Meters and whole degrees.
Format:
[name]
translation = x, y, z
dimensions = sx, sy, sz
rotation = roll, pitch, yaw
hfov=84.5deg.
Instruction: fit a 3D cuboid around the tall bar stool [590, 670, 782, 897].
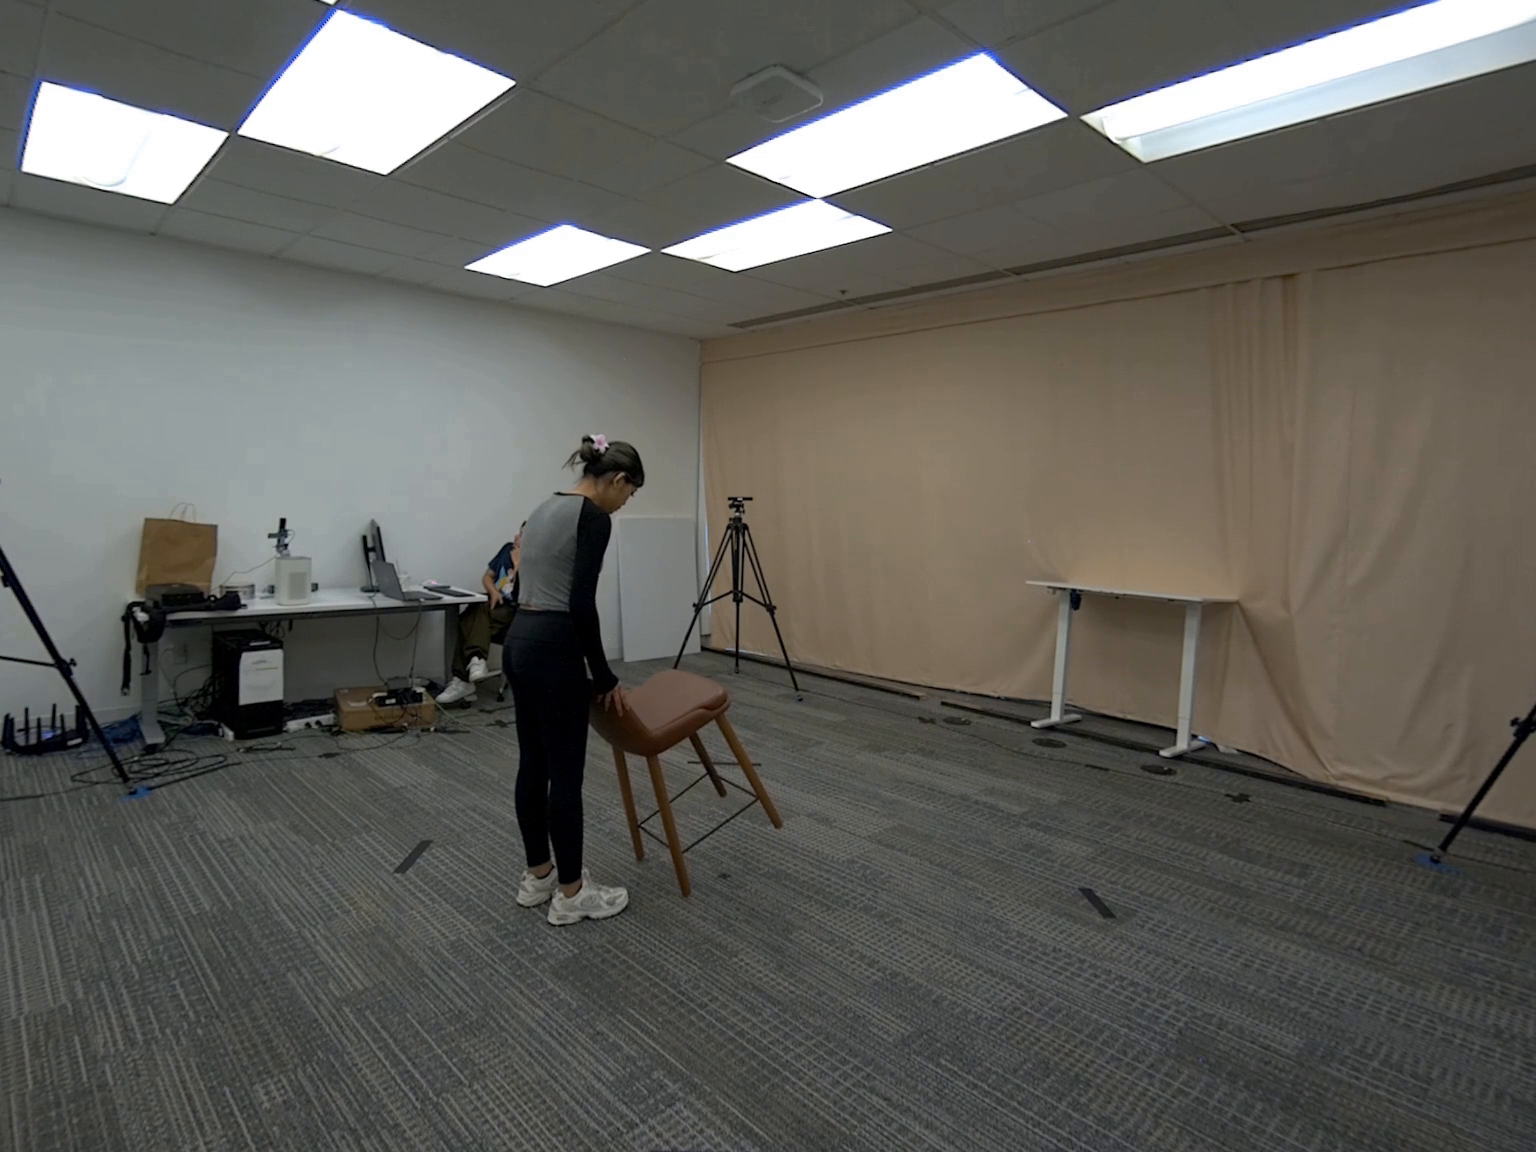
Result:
[tall bar stool]
translation = -0.372, 0.622, 3.070
dimensions = 0.464, 0.875, 0.468
rotation = -30, 20, -29
